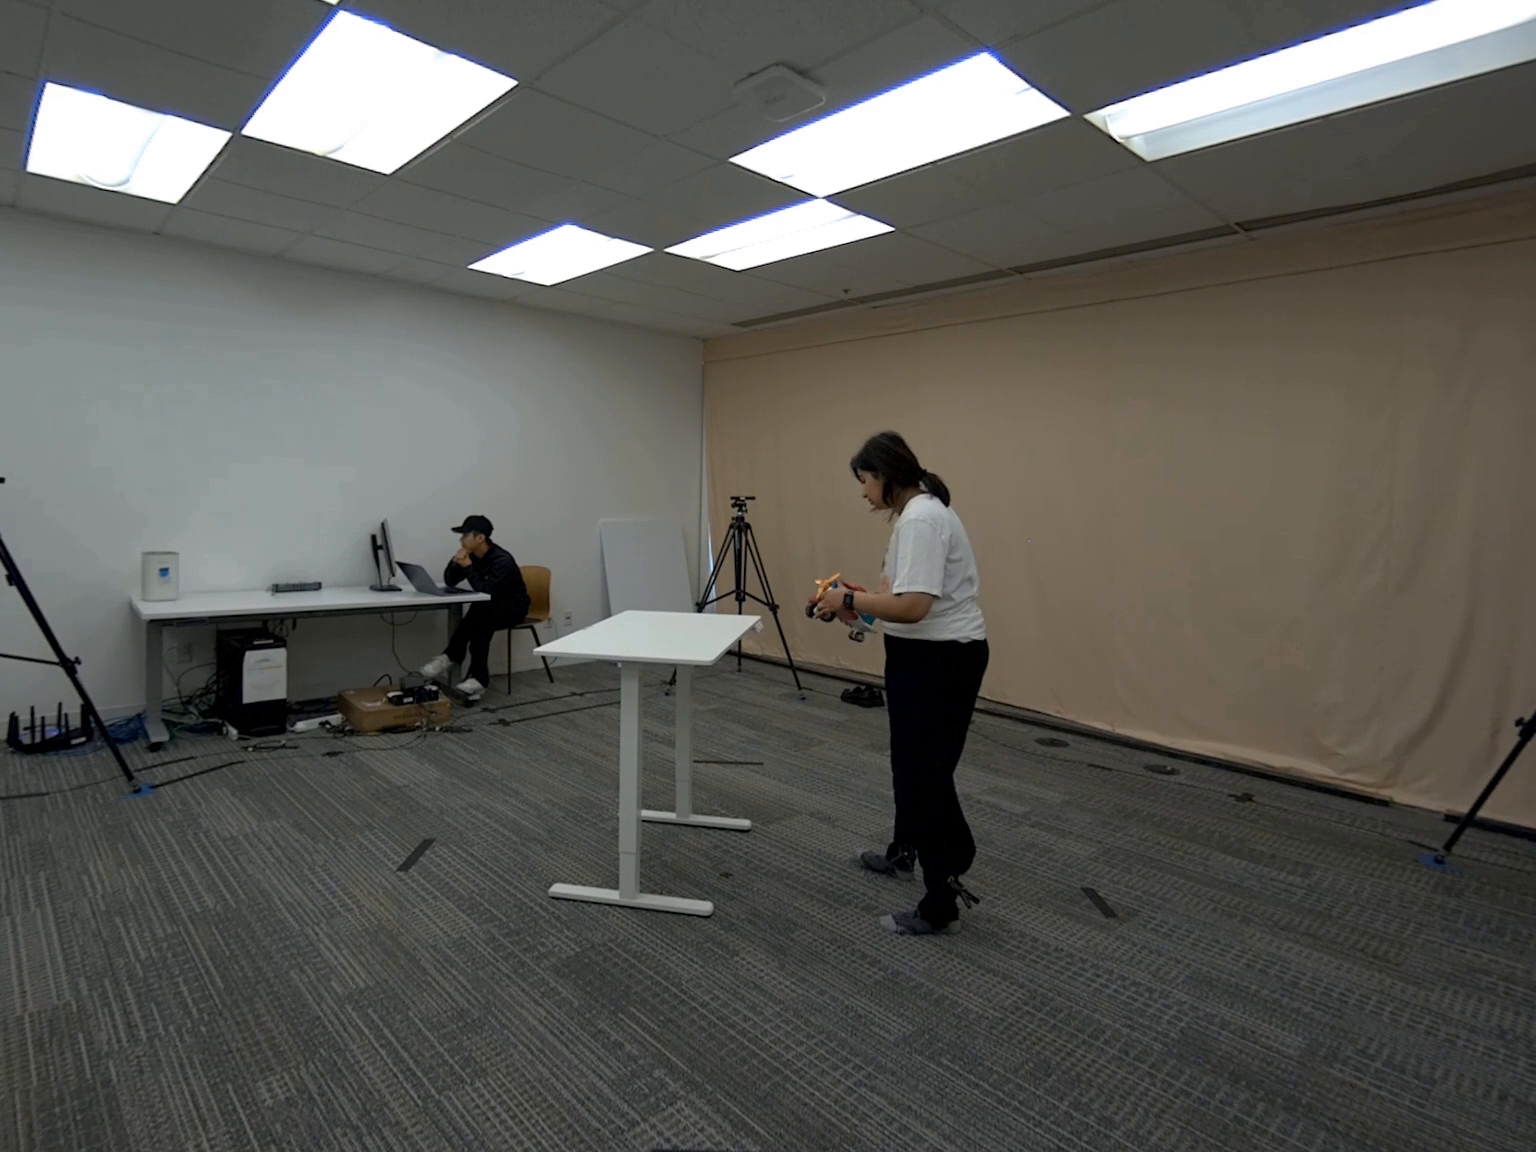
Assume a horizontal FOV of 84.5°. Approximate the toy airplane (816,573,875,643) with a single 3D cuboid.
[{"bbox_3d":[0.253,0.113,2.912,0.258,0.157,0.251,16,-14,34],"label":"toy airplane"}]
